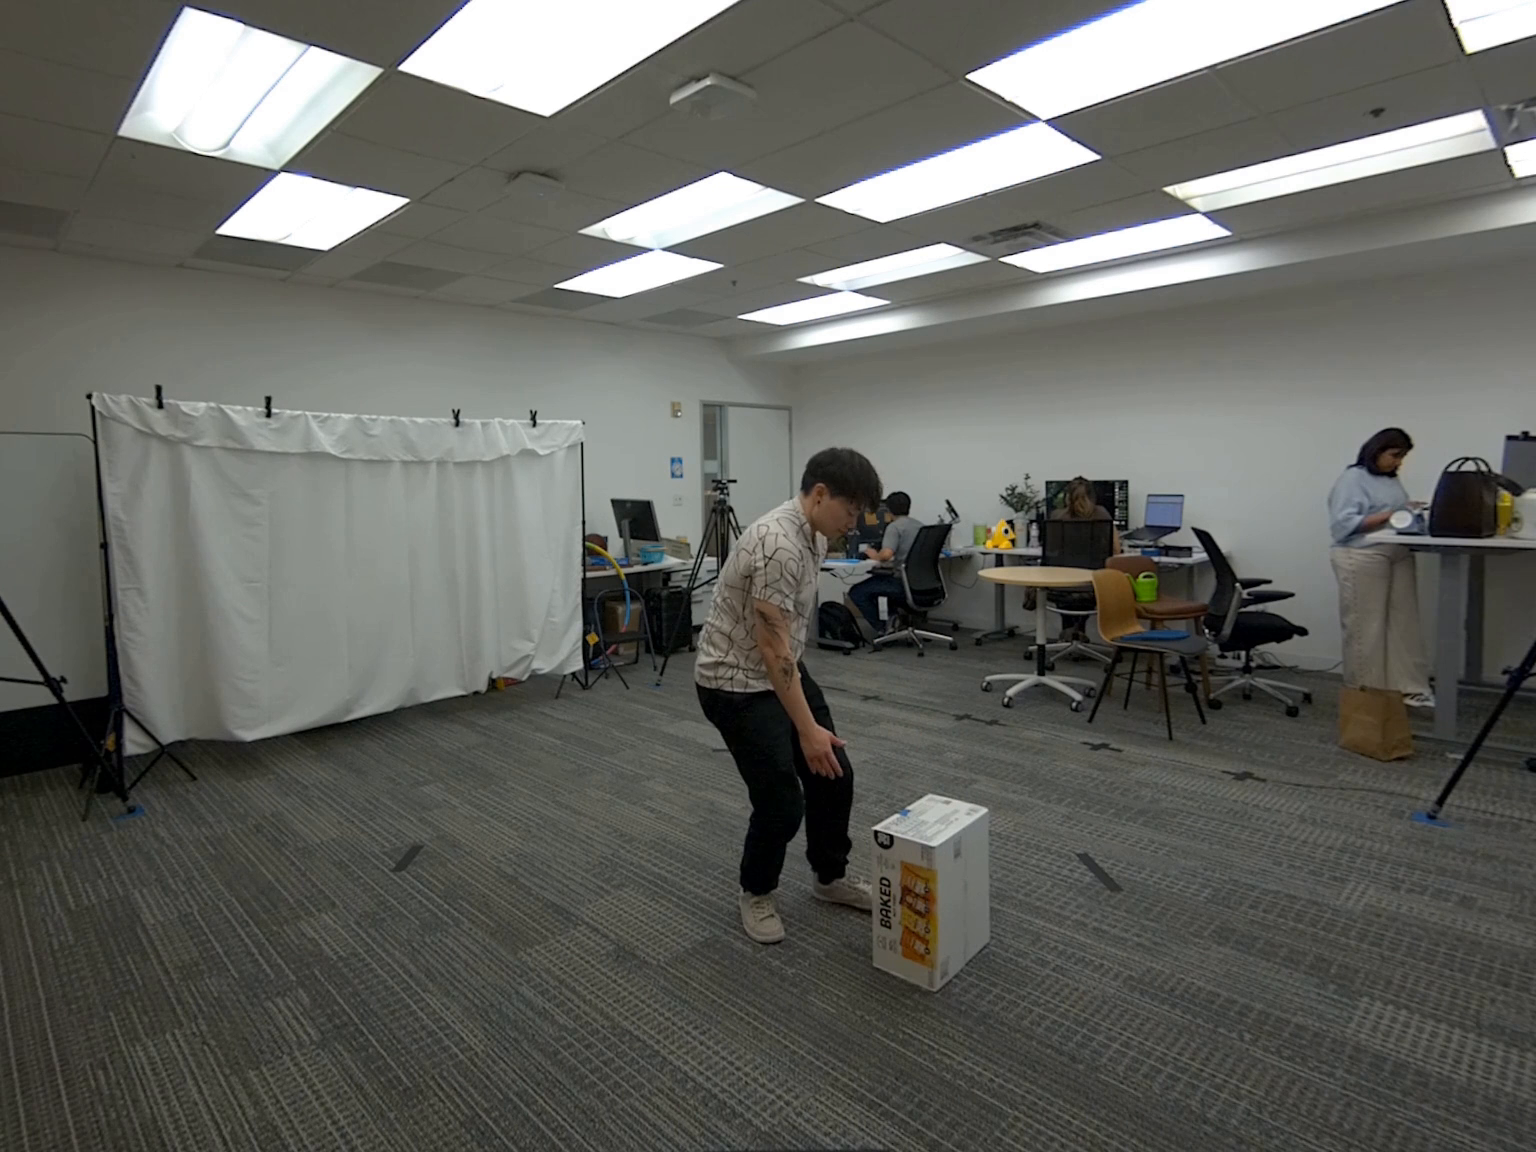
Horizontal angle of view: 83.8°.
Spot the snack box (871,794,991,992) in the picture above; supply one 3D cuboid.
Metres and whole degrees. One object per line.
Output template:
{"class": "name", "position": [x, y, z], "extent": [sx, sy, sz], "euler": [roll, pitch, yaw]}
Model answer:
{"class": "snack box", "position": [0.483, 0.911, 2.490], "extent": [0.212, 0.404, 0.331], "euler": [3, 6, 40]}
